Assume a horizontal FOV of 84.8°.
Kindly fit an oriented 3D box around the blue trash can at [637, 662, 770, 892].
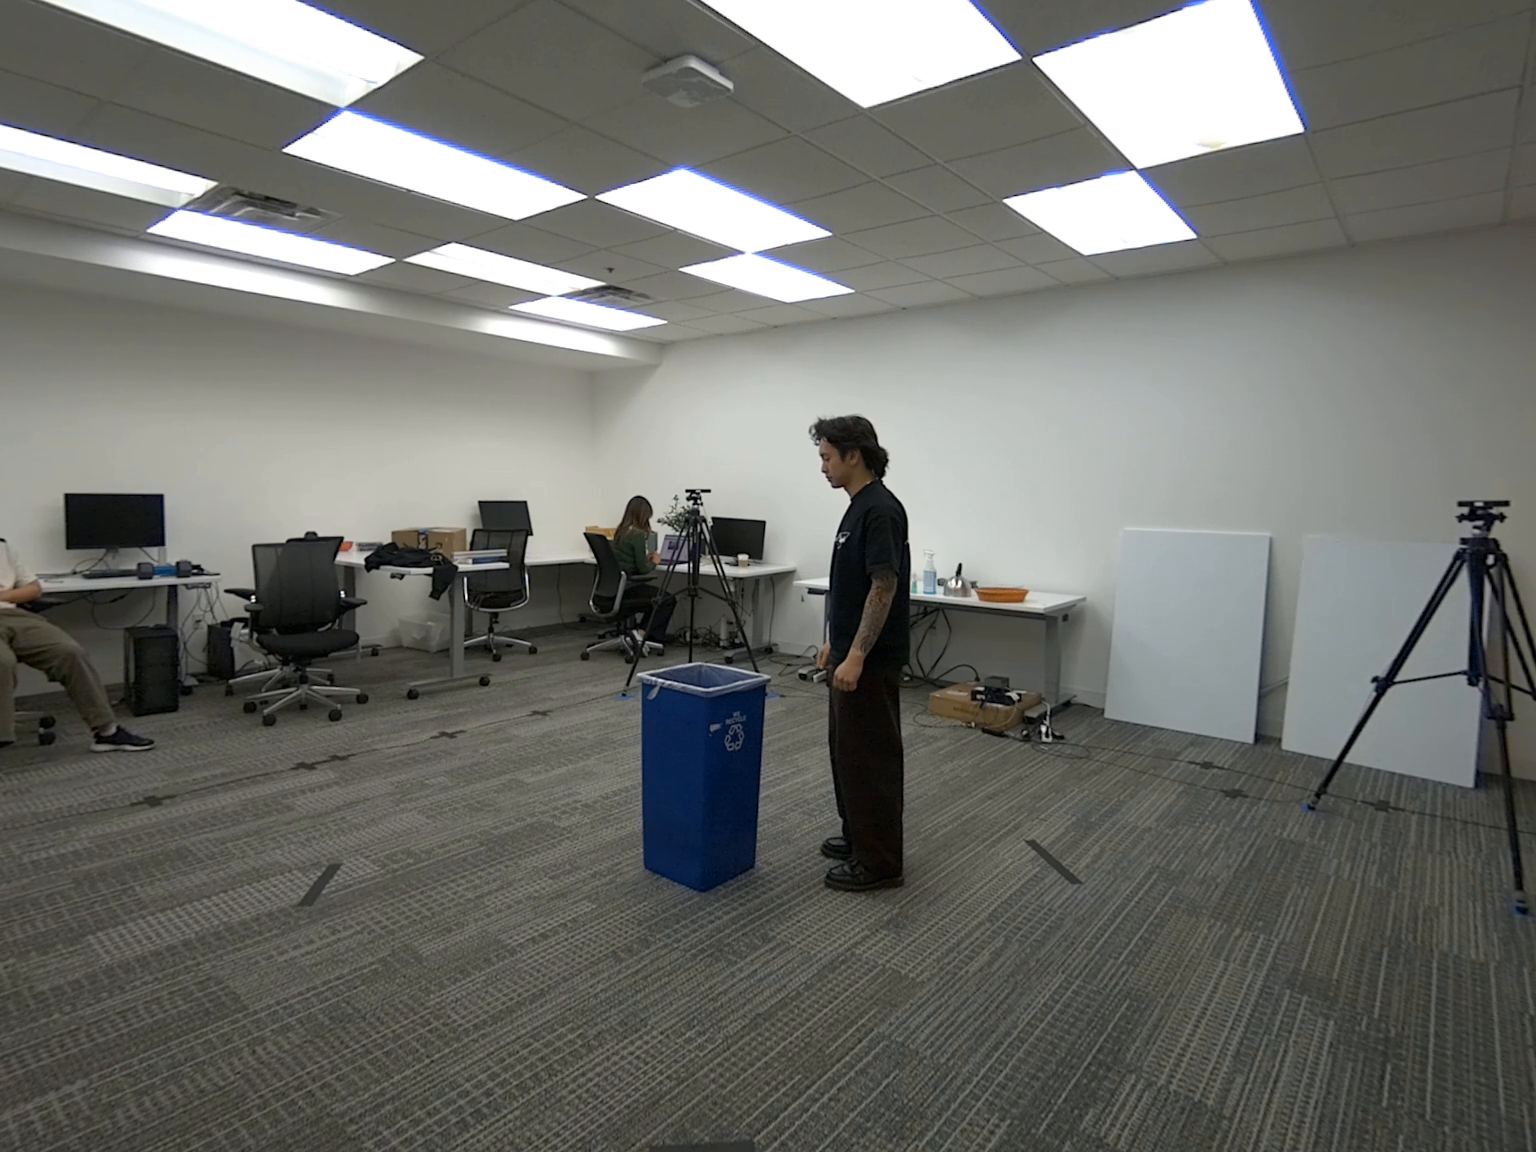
[{"bbox_3d":[-0.251,0.713,3.129,0.391,0.712,0.363,4,4,39],"label":"blue trash can"}]
